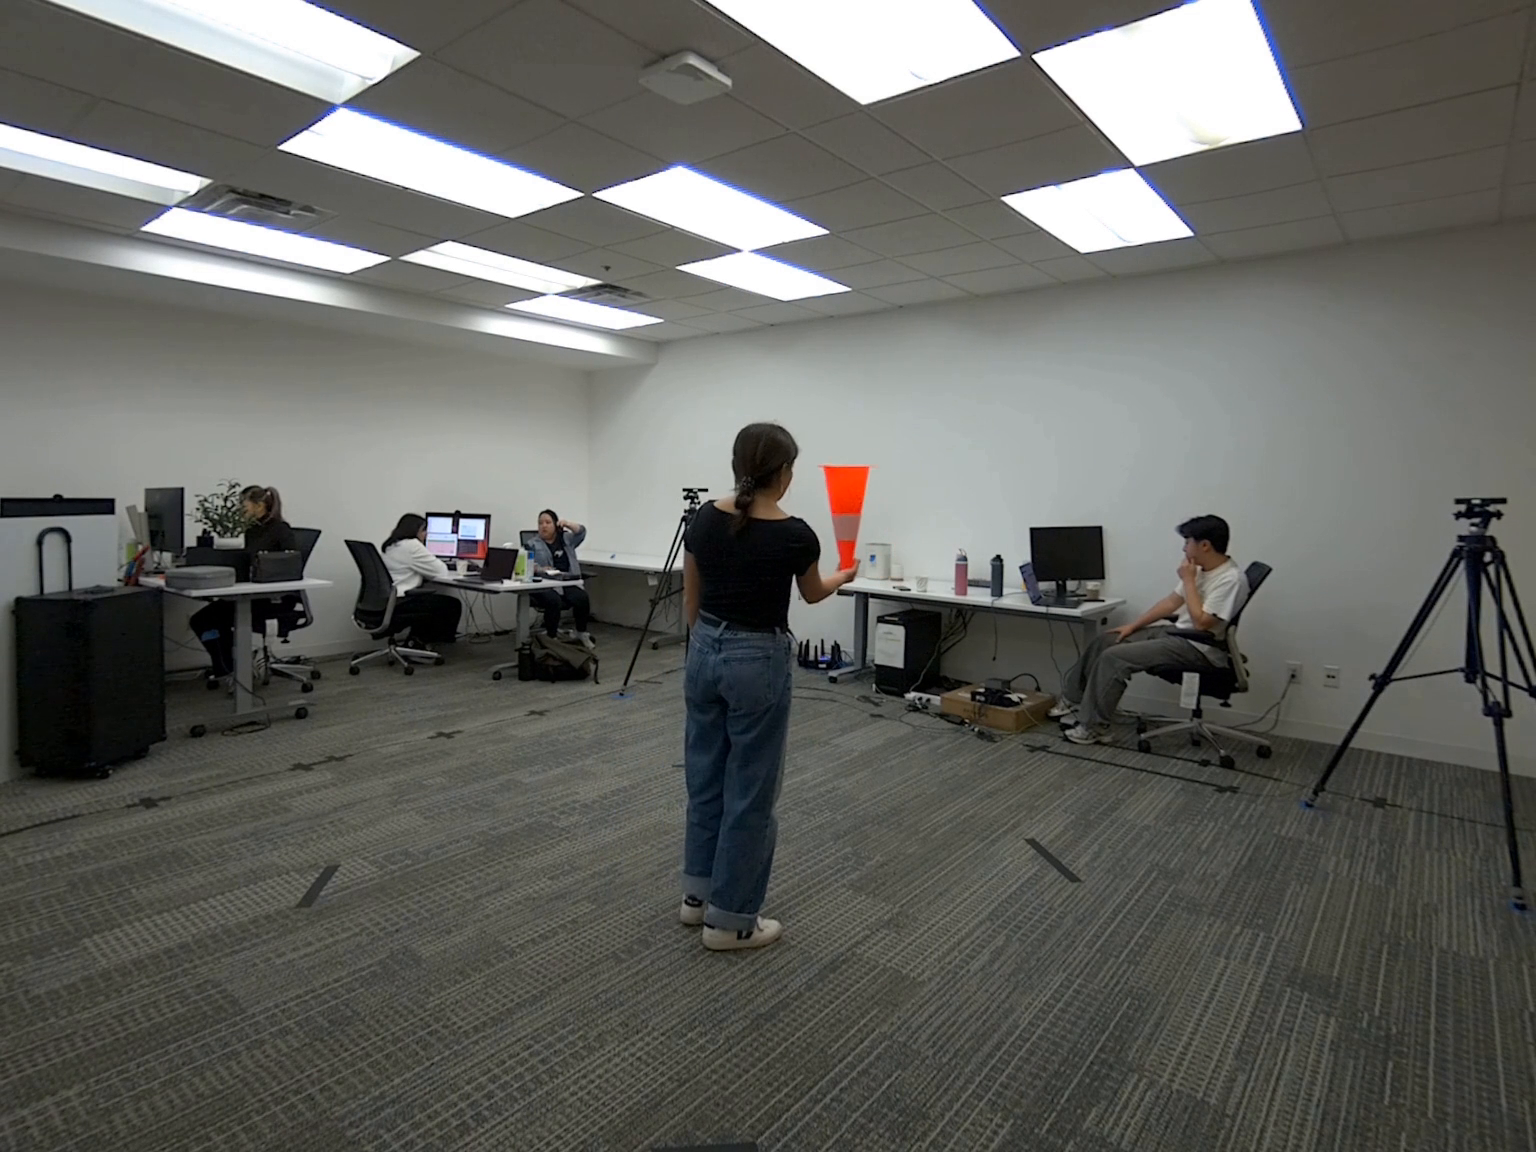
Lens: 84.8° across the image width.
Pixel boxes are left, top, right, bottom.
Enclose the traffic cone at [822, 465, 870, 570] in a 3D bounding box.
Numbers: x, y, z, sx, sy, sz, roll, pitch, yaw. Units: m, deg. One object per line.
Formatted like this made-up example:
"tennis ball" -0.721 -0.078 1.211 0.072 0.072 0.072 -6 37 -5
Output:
"traffic cone" 0.275 -0.203 2.958 0.203 0.382 0.207 0 5 -4
